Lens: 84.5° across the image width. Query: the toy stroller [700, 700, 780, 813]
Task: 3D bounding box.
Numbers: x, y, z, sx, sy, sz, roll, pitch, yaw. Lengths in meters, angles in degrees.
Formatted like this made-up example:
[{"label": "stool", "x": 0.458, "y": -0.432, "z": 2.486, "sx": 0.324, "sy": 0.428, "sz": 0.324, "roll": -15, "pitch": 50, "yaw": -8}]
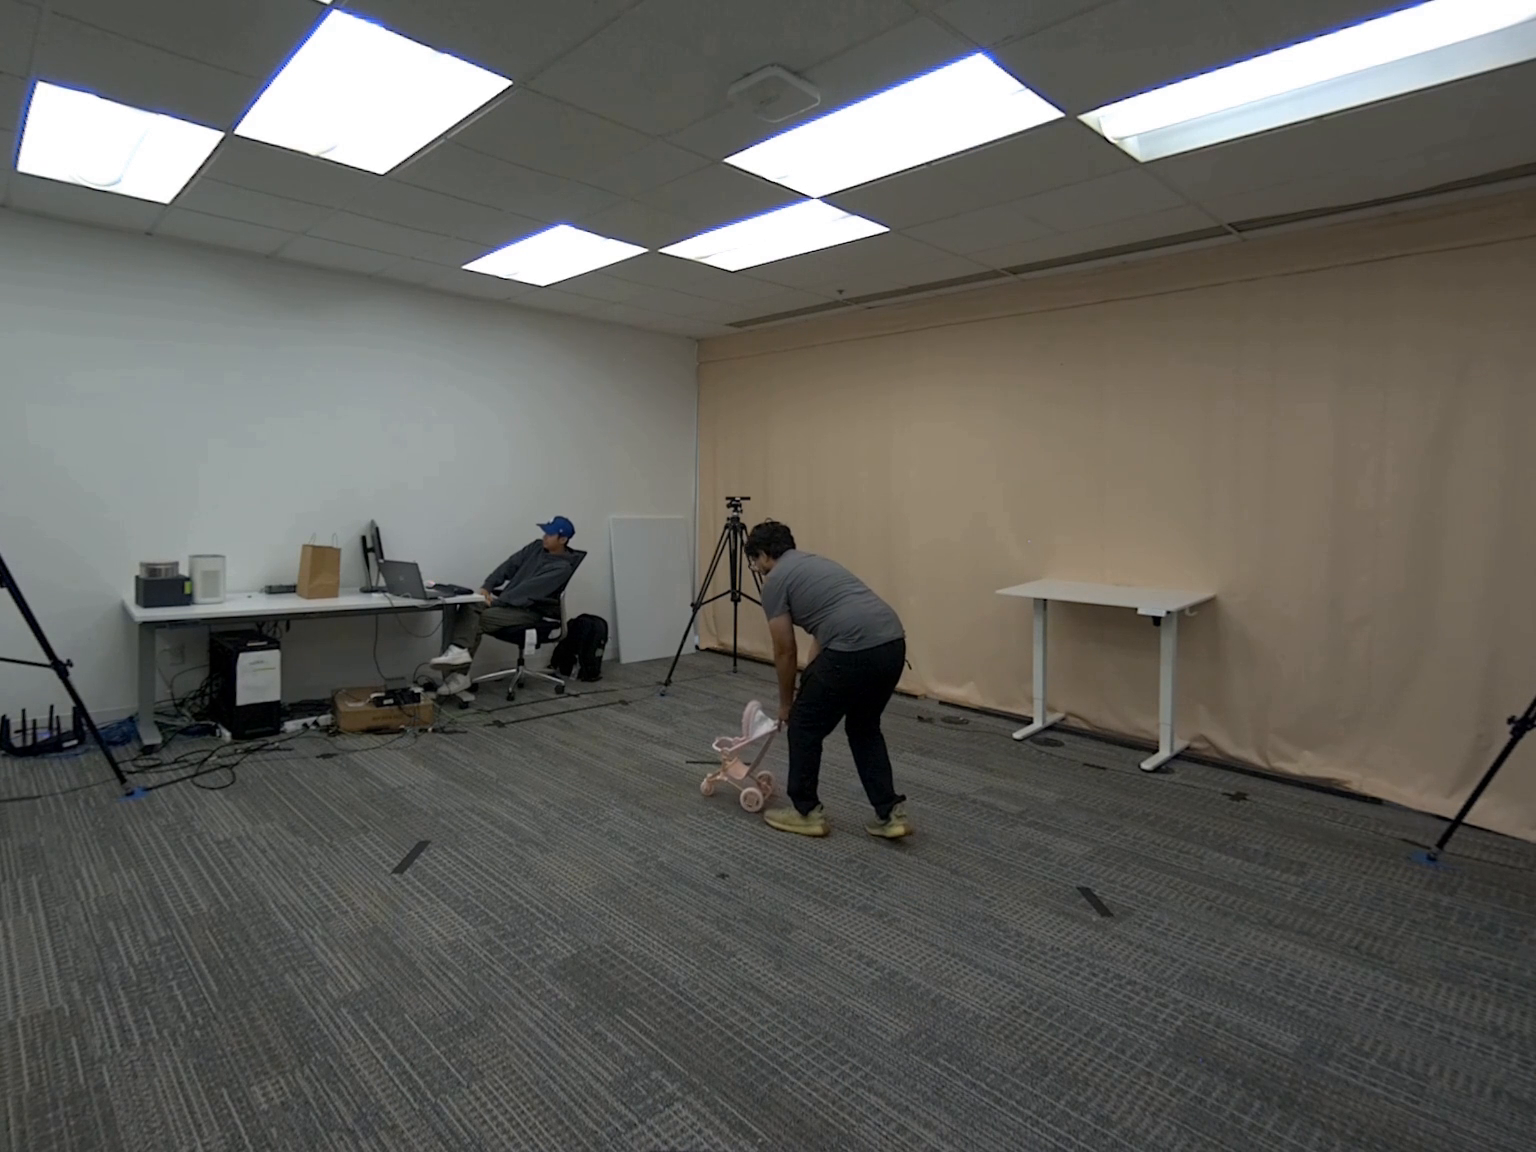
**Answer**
[{"label": "toy stroller", "x": -0.106, "y": 0.815, "z": 3.889, "sx": 0.348, "sy": 0.533, "sz": 0.277, "roll": 20, "pitch": 9, "yaw": 18}]
